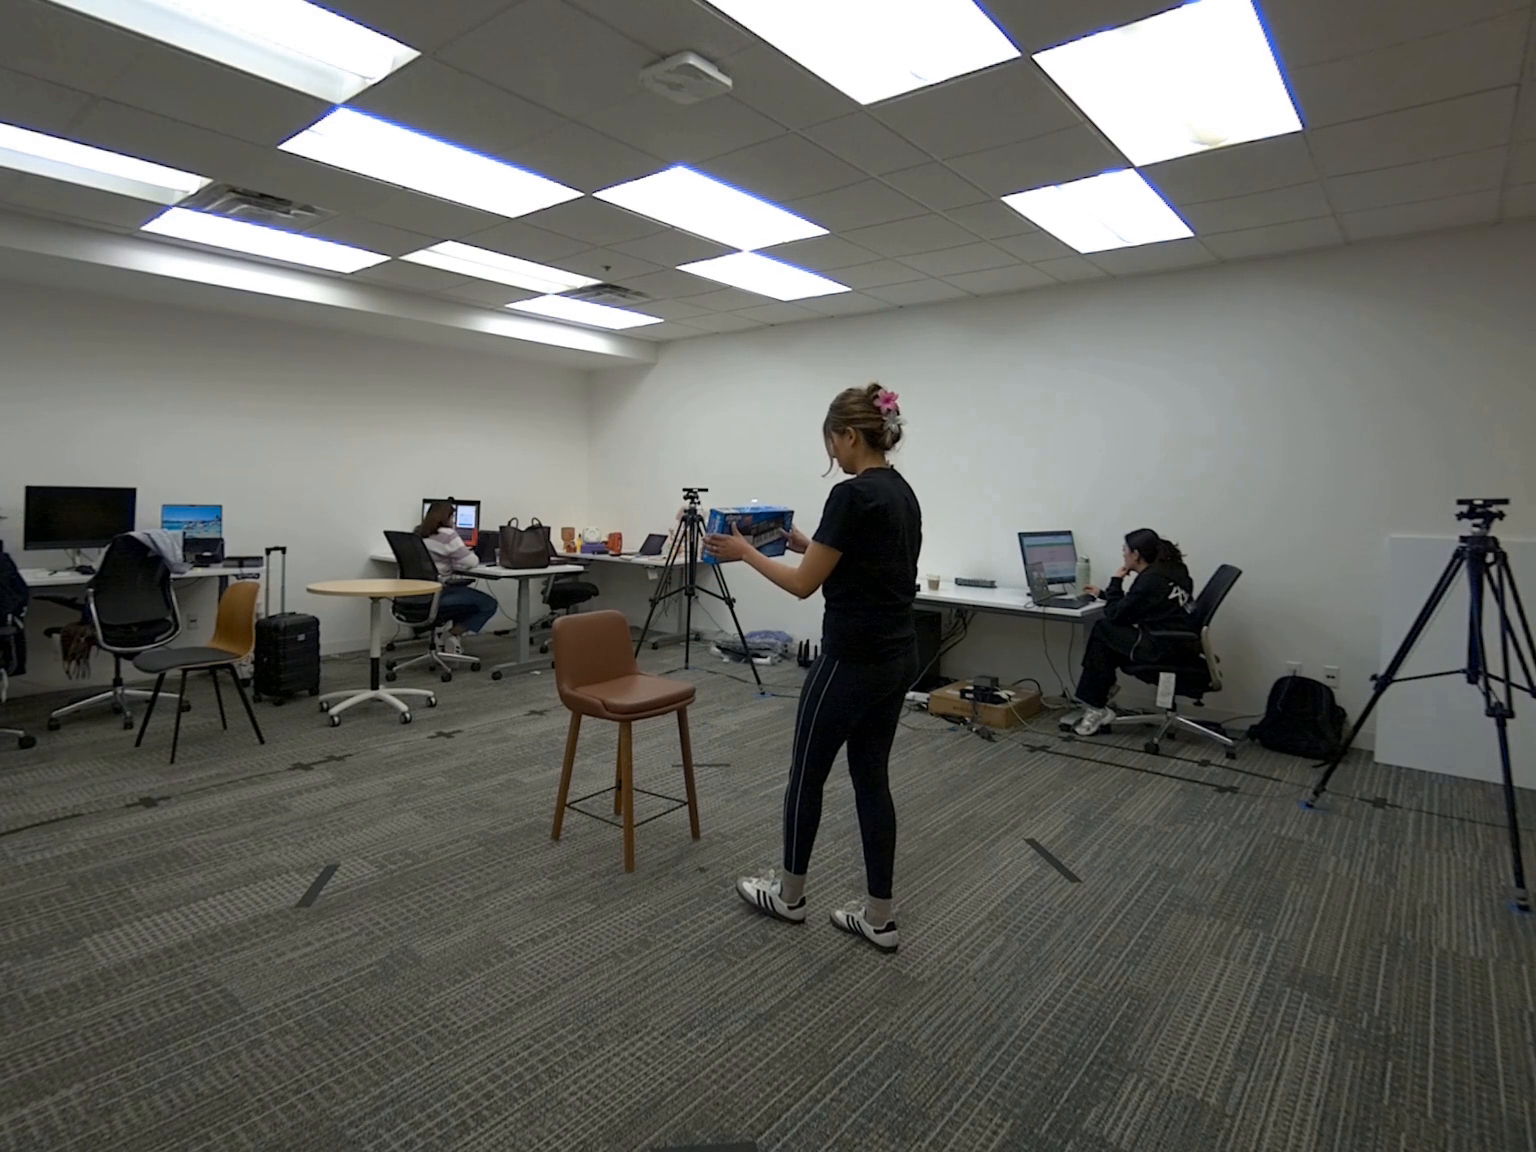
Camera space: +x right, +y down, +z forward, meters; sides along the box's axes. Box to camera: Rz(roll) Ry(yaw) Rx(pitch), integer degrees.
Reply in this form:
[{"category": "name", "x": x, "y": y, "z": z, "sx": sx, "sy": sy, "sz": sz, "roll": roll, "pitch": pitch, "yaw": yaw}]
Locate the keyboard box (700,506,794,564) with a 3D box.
[{"category": "keyboard box", "x": -0.074, "y": -0.143, "z": 2.891, "sx": 0.061, "sy": 0.174, "sz": 0.425, "roll": 19, "pitch": 15, "yaw": 31}]
